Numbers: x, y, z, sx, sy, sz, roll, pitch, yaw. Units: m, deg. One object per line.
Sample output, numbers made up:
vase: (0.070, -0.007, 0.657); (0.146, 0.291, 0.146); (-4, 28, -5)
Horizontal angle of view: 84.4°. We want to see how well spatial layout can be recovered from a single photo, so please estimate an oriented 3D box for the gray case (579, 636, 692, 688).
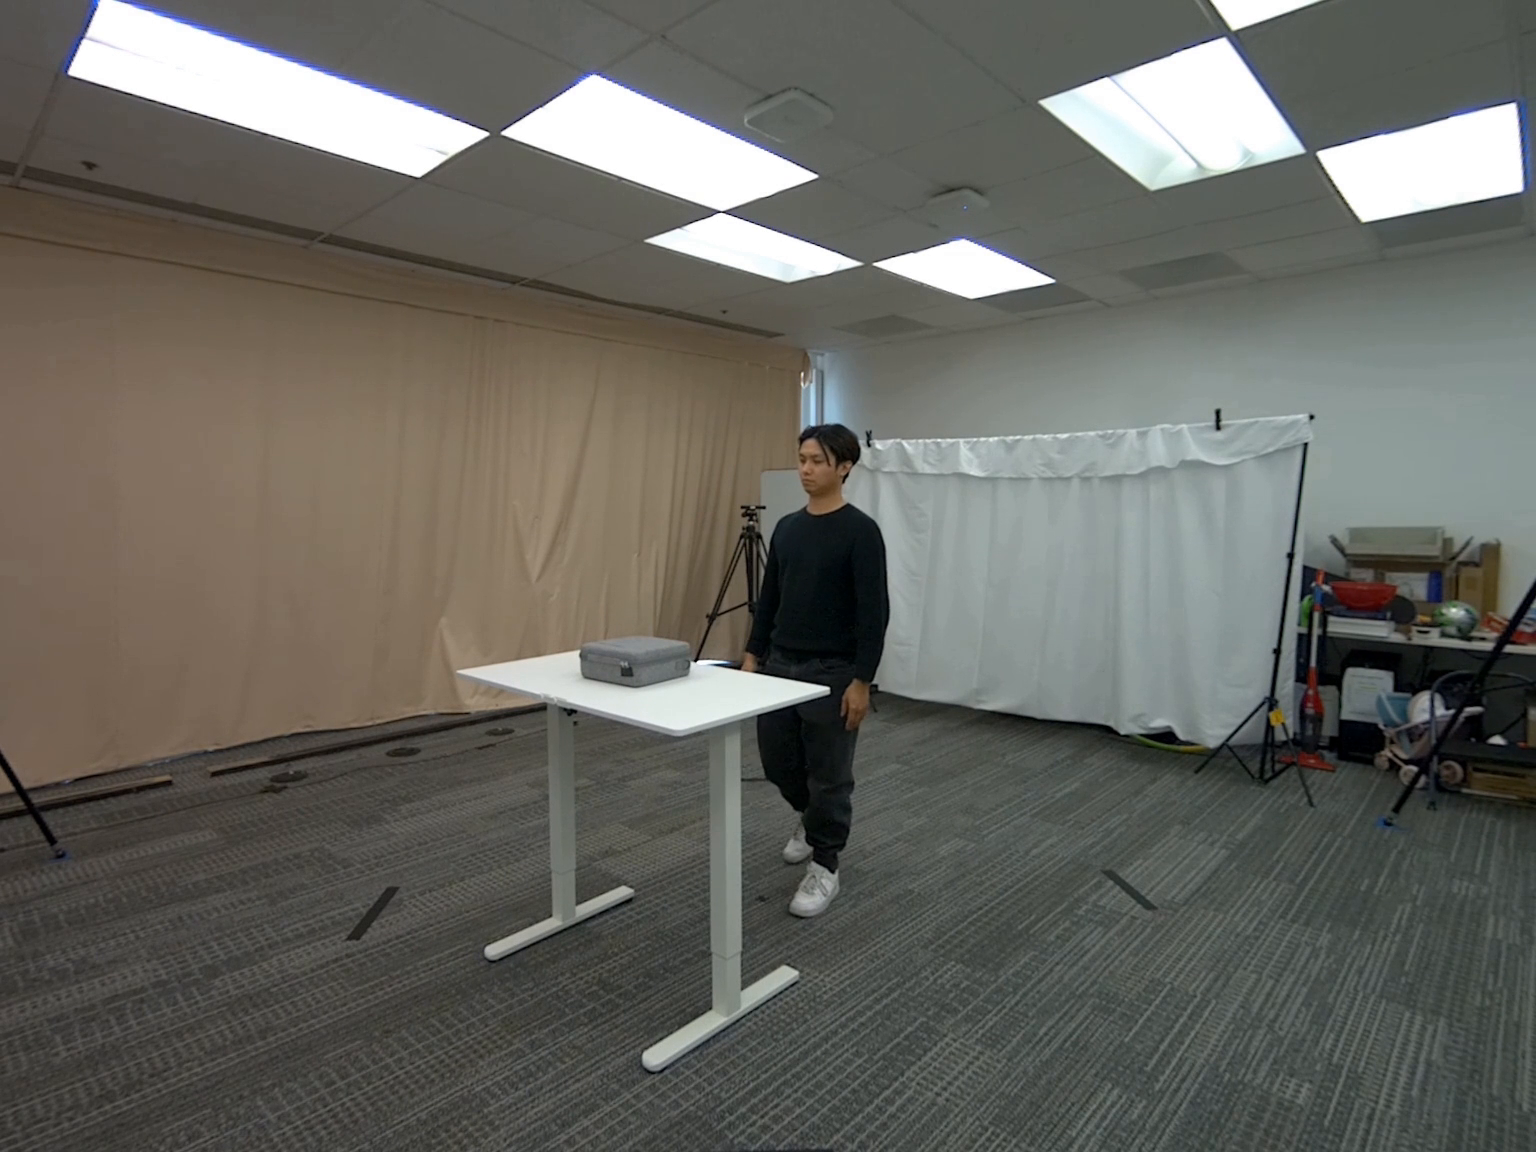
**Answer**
gray case: (-0.393, 0.249, 2.523); (0.265, 0.104, 0.253); (2, 5, 36)
